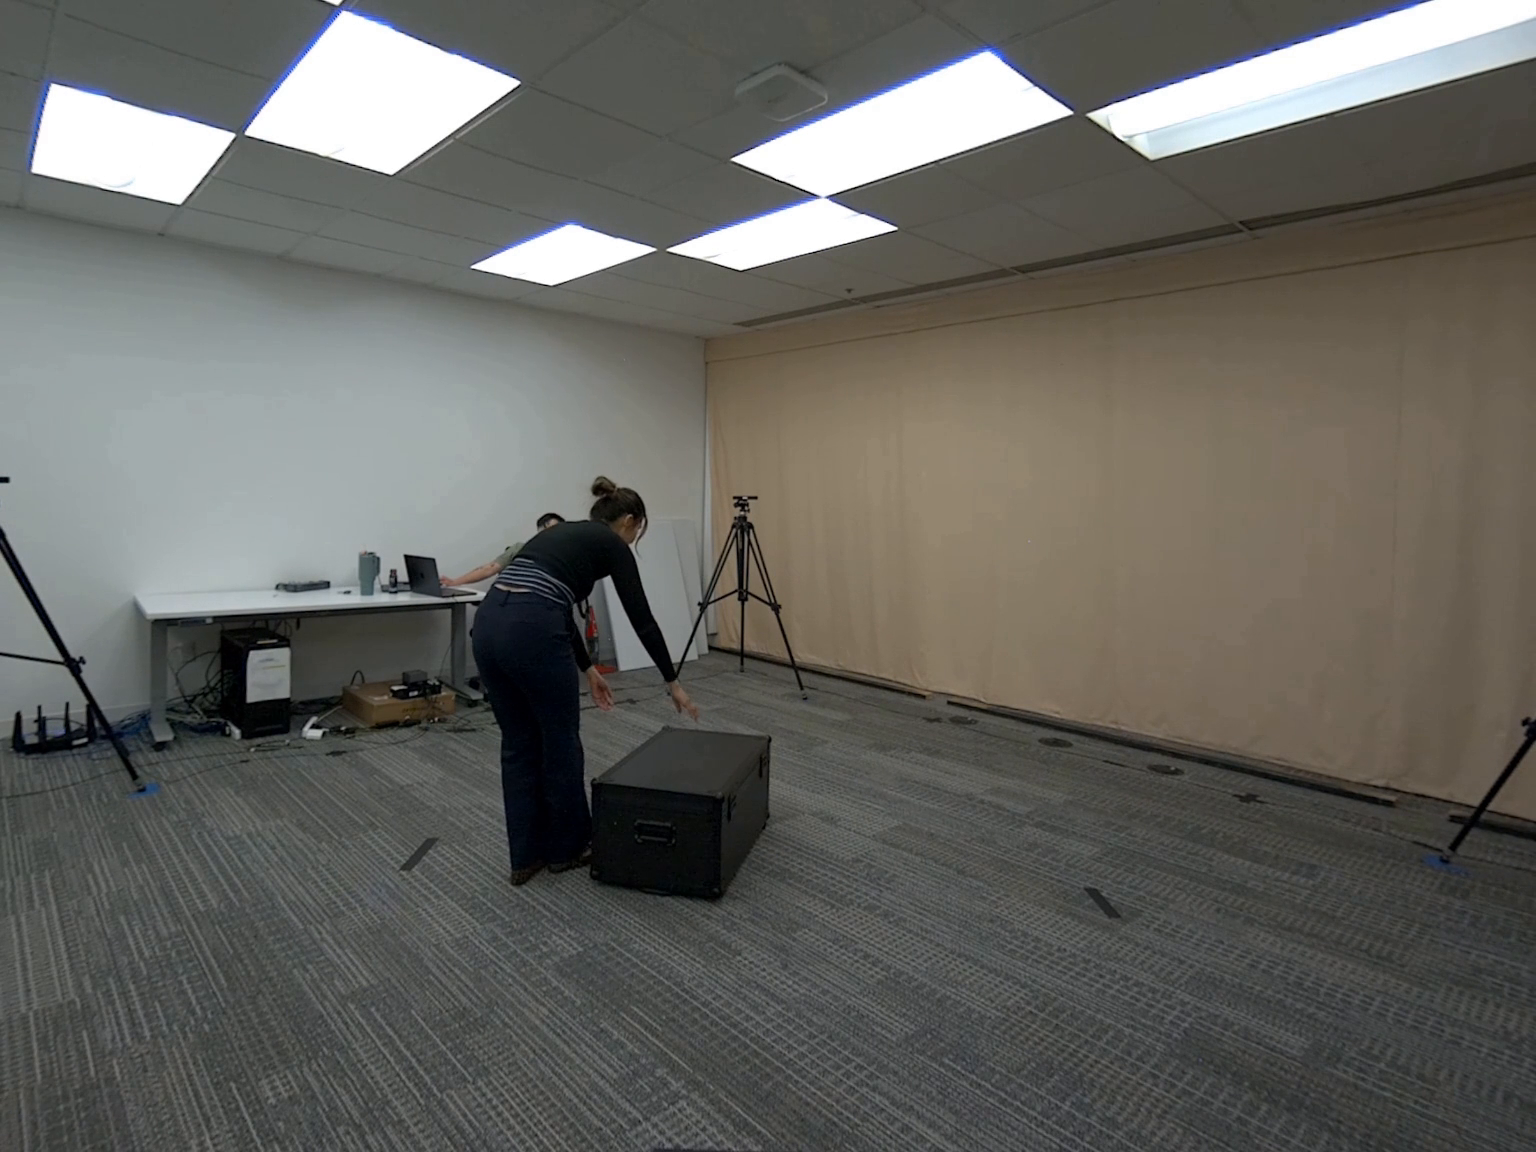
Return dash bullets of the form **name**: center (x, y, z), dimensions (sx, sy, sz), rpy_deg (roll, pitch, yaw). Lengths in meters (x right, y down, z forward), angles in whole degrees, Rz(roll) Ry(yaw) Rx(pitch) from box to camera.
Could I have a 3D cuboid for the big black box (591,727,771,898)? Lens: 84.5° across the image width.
- **big black box**: center (-0.301, 0.887, 3.323), dimensions (0.527, 0.395, 0.854), rpy_deg (2, 5, 13)
